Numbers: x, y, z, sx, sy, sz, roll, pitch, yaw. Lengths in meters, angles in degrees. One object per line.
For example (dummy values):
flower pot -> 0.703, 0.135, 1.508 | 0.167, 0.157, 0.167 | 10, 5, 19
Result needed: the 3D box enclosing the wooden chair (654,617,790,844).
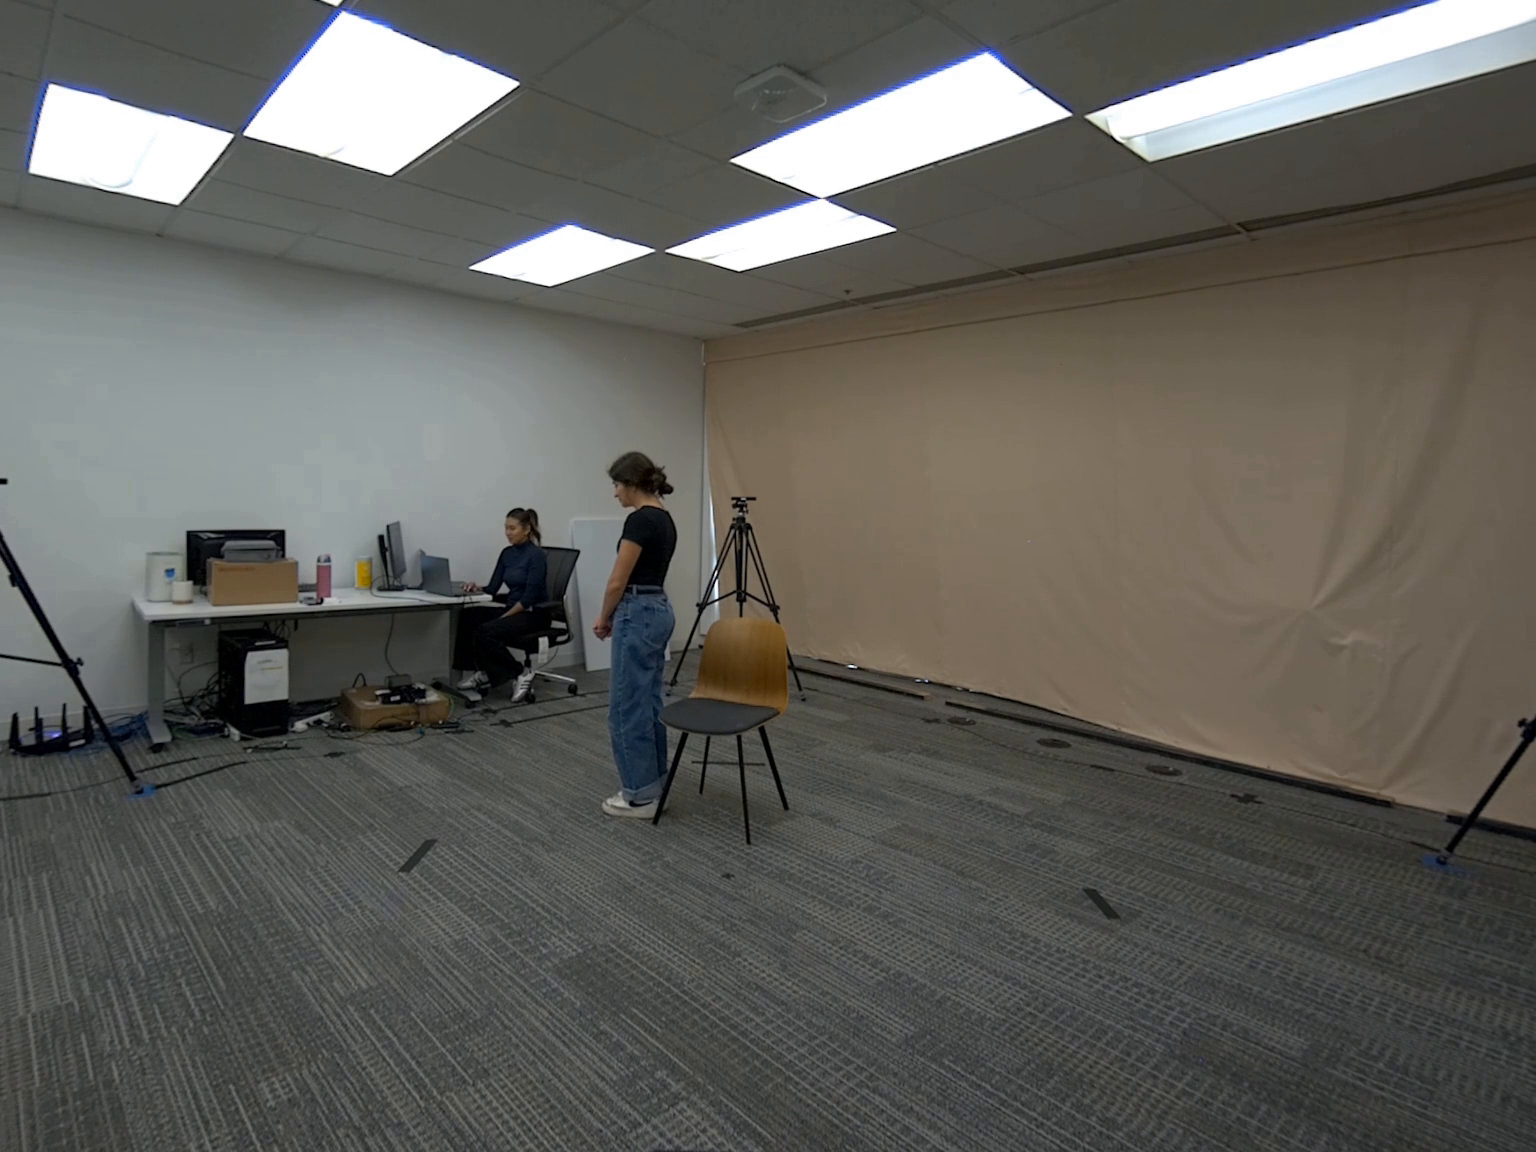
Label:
wooden chair -> -0.192, 0.631, 3.648 | 0.487, 0.878, 0.513 | 3, -1, 24
